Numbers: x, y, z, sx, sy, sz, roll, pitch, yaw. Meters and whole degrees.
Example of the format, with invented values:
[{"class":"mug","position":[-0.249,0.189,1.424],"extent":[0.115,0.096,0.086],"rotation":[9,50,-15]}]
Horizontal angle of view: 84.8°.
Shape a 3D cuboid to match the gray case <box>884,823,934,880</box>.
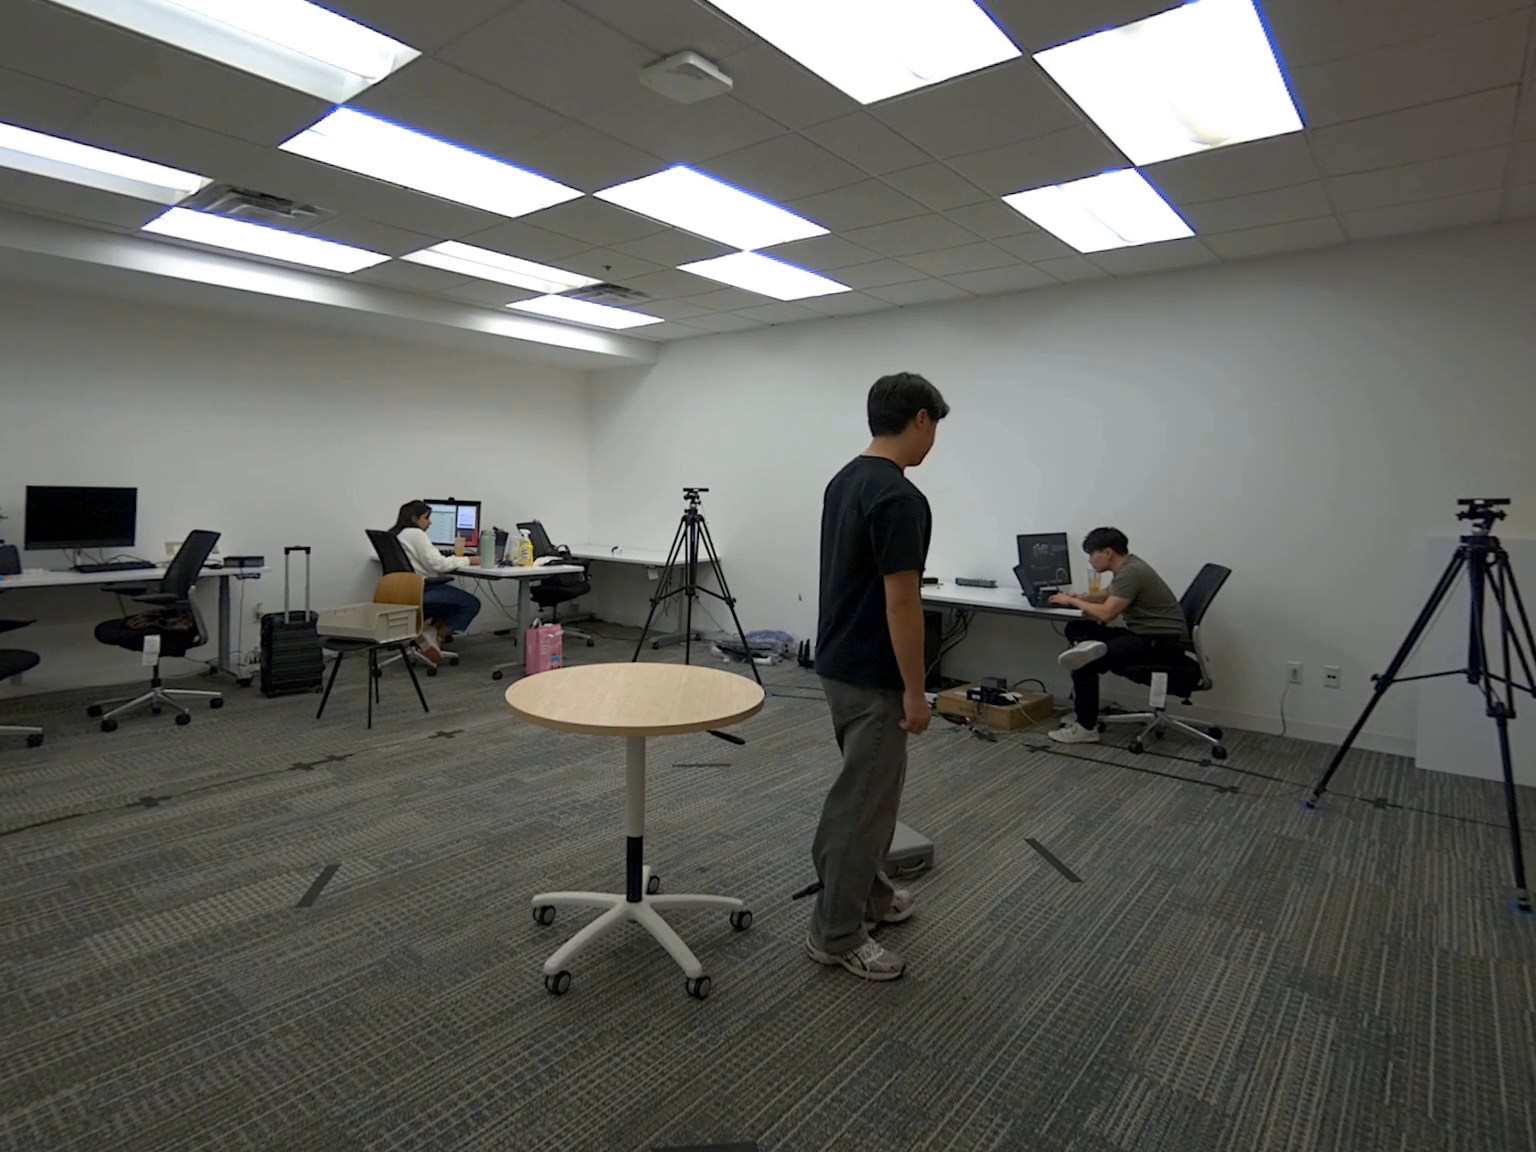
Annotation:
[{"class":"gray case","position":[0.458,1.021,3.203],"extent":[0.256,0.102,0.296],"rotation":[-2,8,-28]}]
